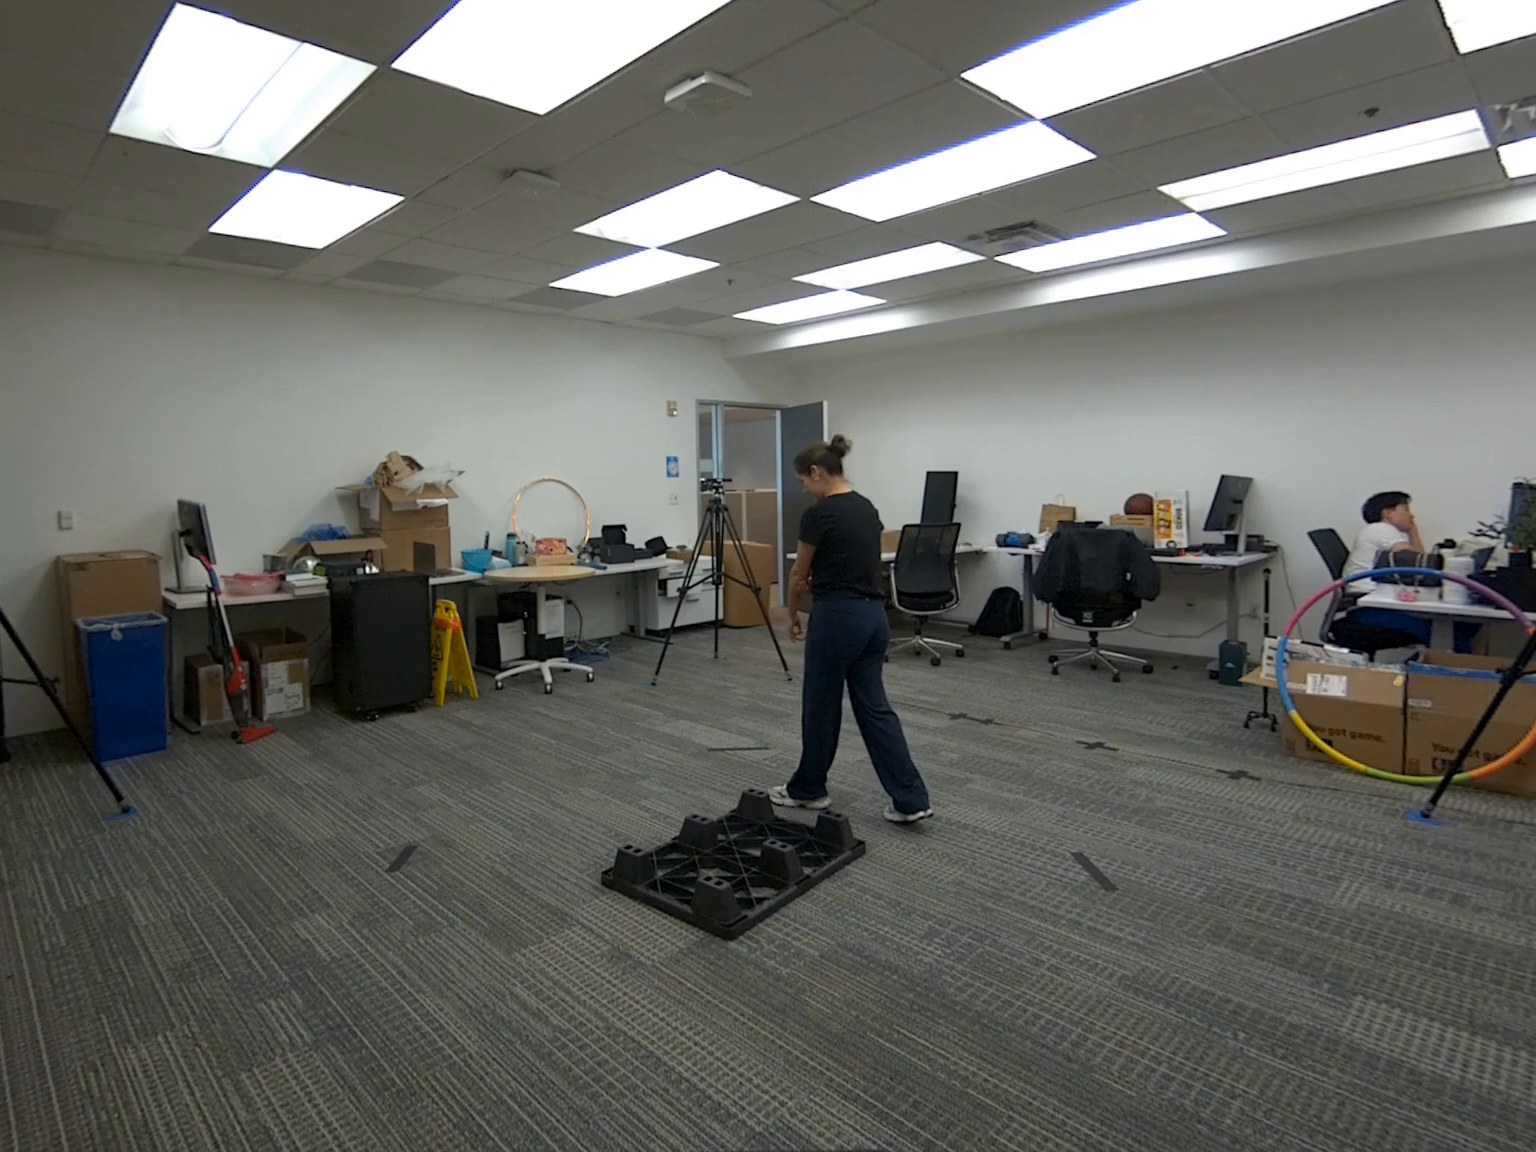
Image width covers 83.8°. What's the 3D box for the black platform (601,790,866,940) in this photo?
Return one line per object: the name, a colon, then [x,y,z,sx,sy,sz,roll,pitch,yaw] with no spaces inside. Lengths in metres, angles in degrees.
black platform: [-0.111,0.982,3.087,0.623,0.142,0.785,5,8,39]
